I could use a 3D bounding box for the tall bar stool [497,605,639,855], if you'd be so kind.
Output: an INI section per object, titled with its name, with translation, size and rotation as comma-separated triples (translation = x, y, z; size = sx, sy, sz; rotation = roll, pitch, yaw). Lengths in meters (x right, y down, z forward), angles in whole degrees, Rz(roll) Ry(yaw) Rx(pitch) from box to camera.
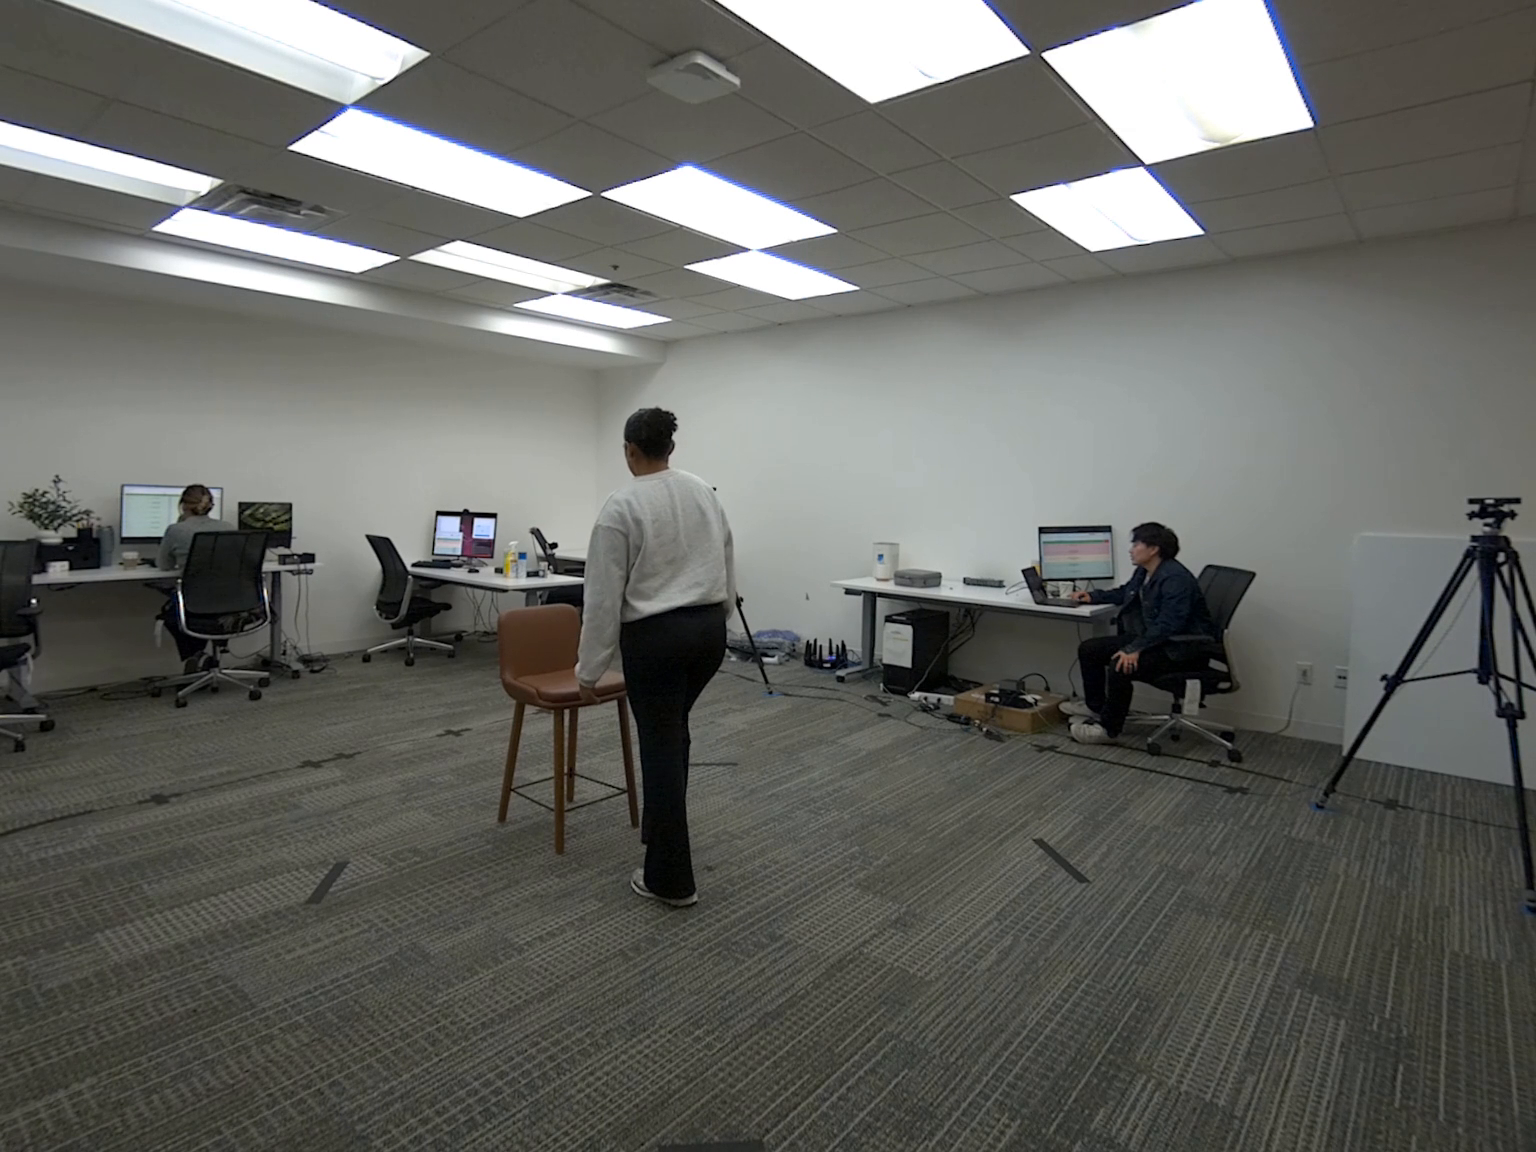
[tall bar stool]
translation = -0.833, 0.579, 3.472
size = 0.483, 0.889, 0.442
rotation = 1, 2, 42
